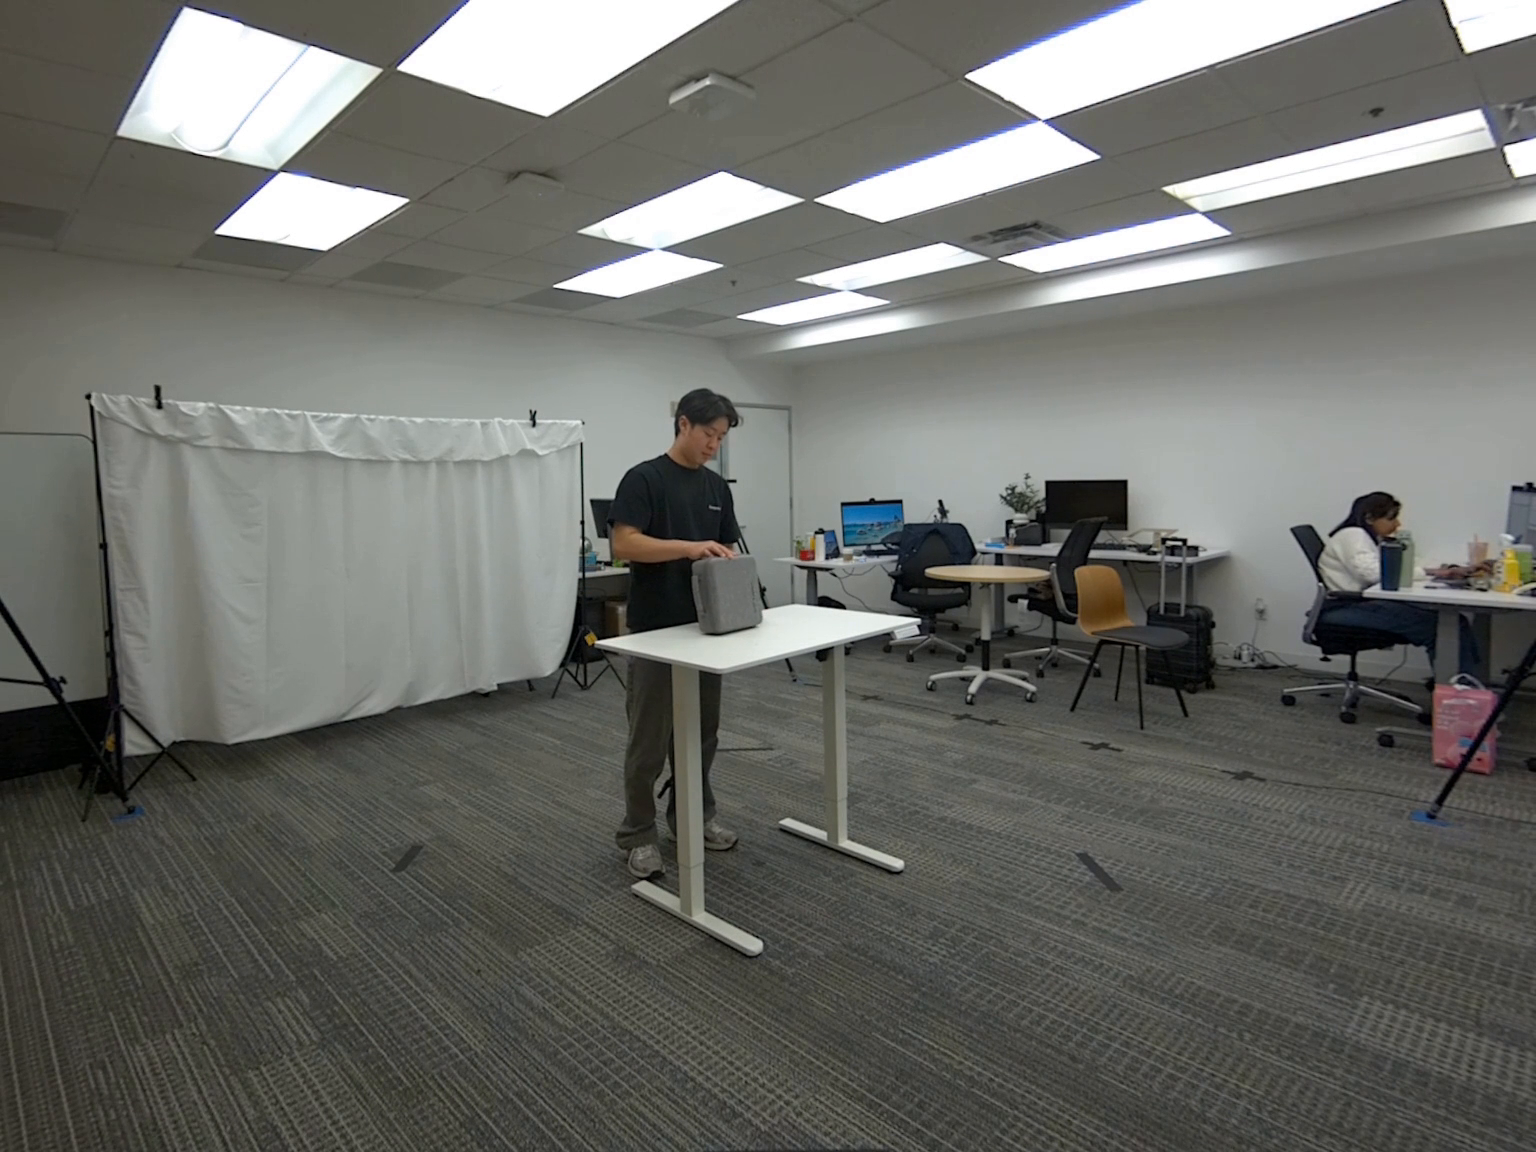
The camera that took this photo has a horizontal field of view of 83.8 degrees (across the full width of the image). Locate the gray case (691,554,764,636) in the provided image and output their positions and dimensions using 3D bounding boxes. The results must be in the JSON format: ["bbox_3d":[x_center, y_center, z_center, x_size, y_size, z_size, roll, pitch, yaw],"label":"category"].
[{"bbox_3d":[-0.148,0.062,2.937,0.107,0.257,0.254,-6,-1,35],"label":"gray case"}]
